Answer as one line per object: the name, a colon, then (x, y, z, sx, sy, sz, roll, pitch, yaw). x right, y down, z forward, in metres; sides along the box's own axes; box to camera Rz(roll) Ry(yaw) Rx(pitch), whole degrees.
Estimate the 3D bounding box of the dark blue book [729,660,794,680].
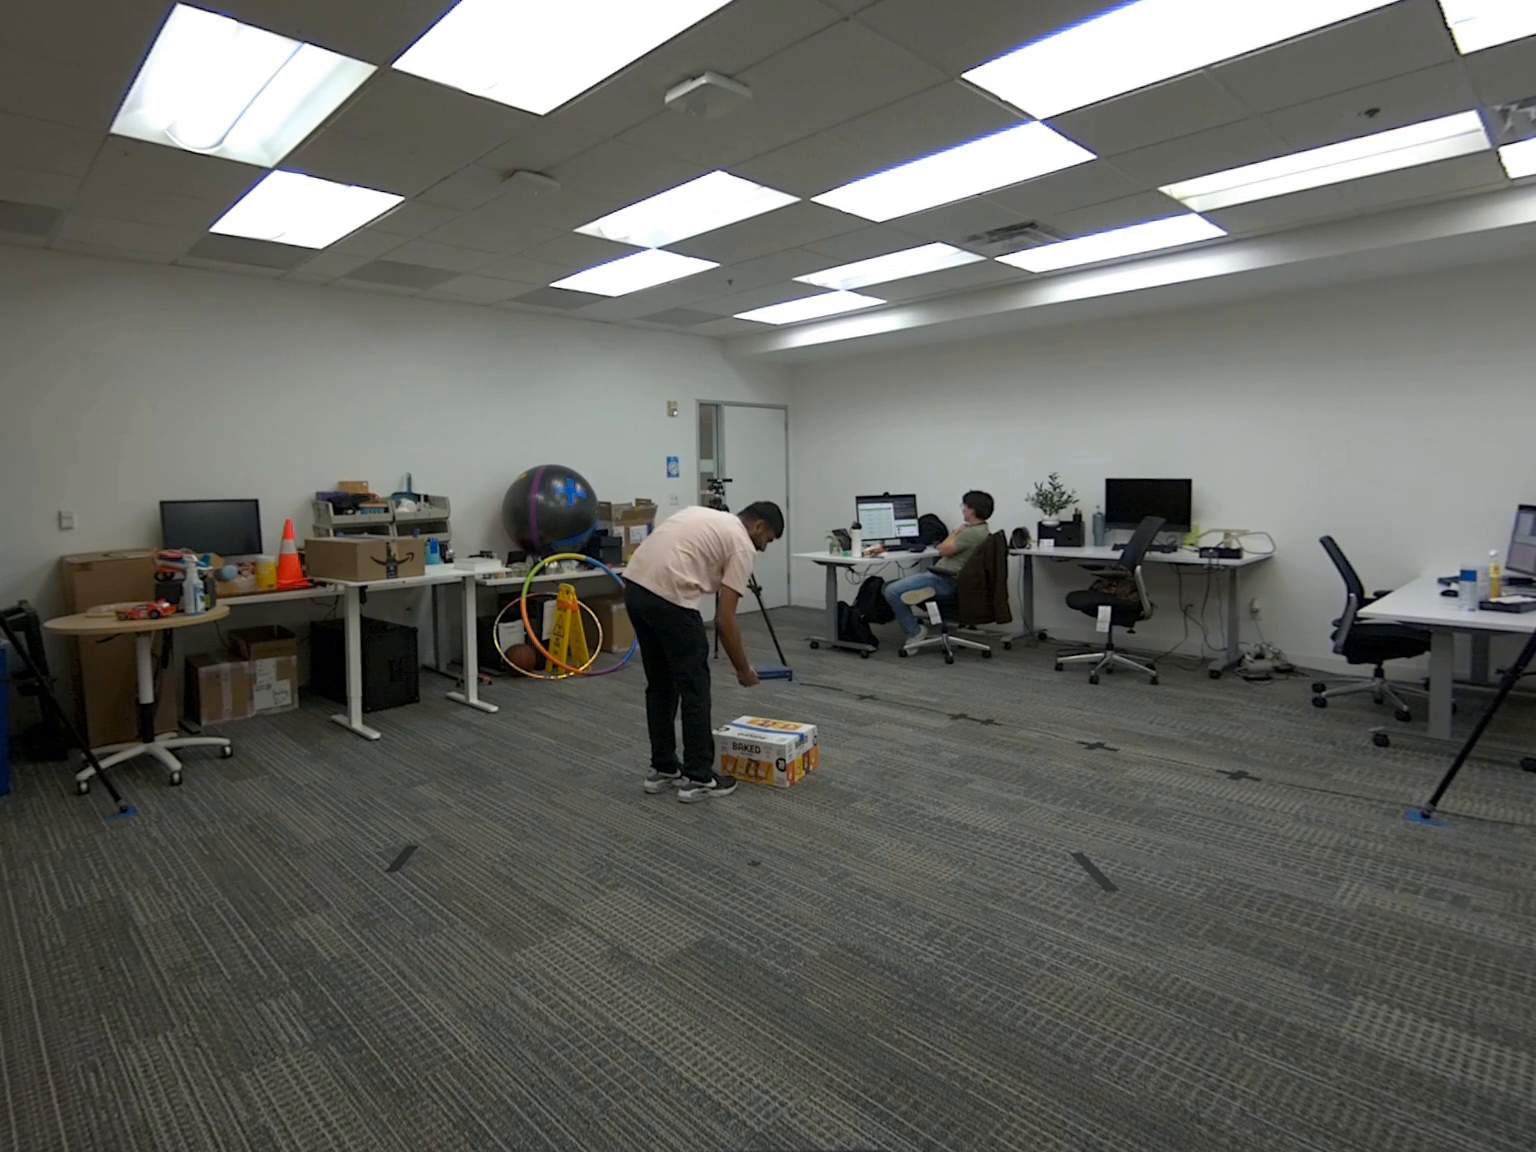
dark blue book: (-0.032, 0.432, 3.938, 0.238, 0.045, 0.168, 1, 7, -34)
